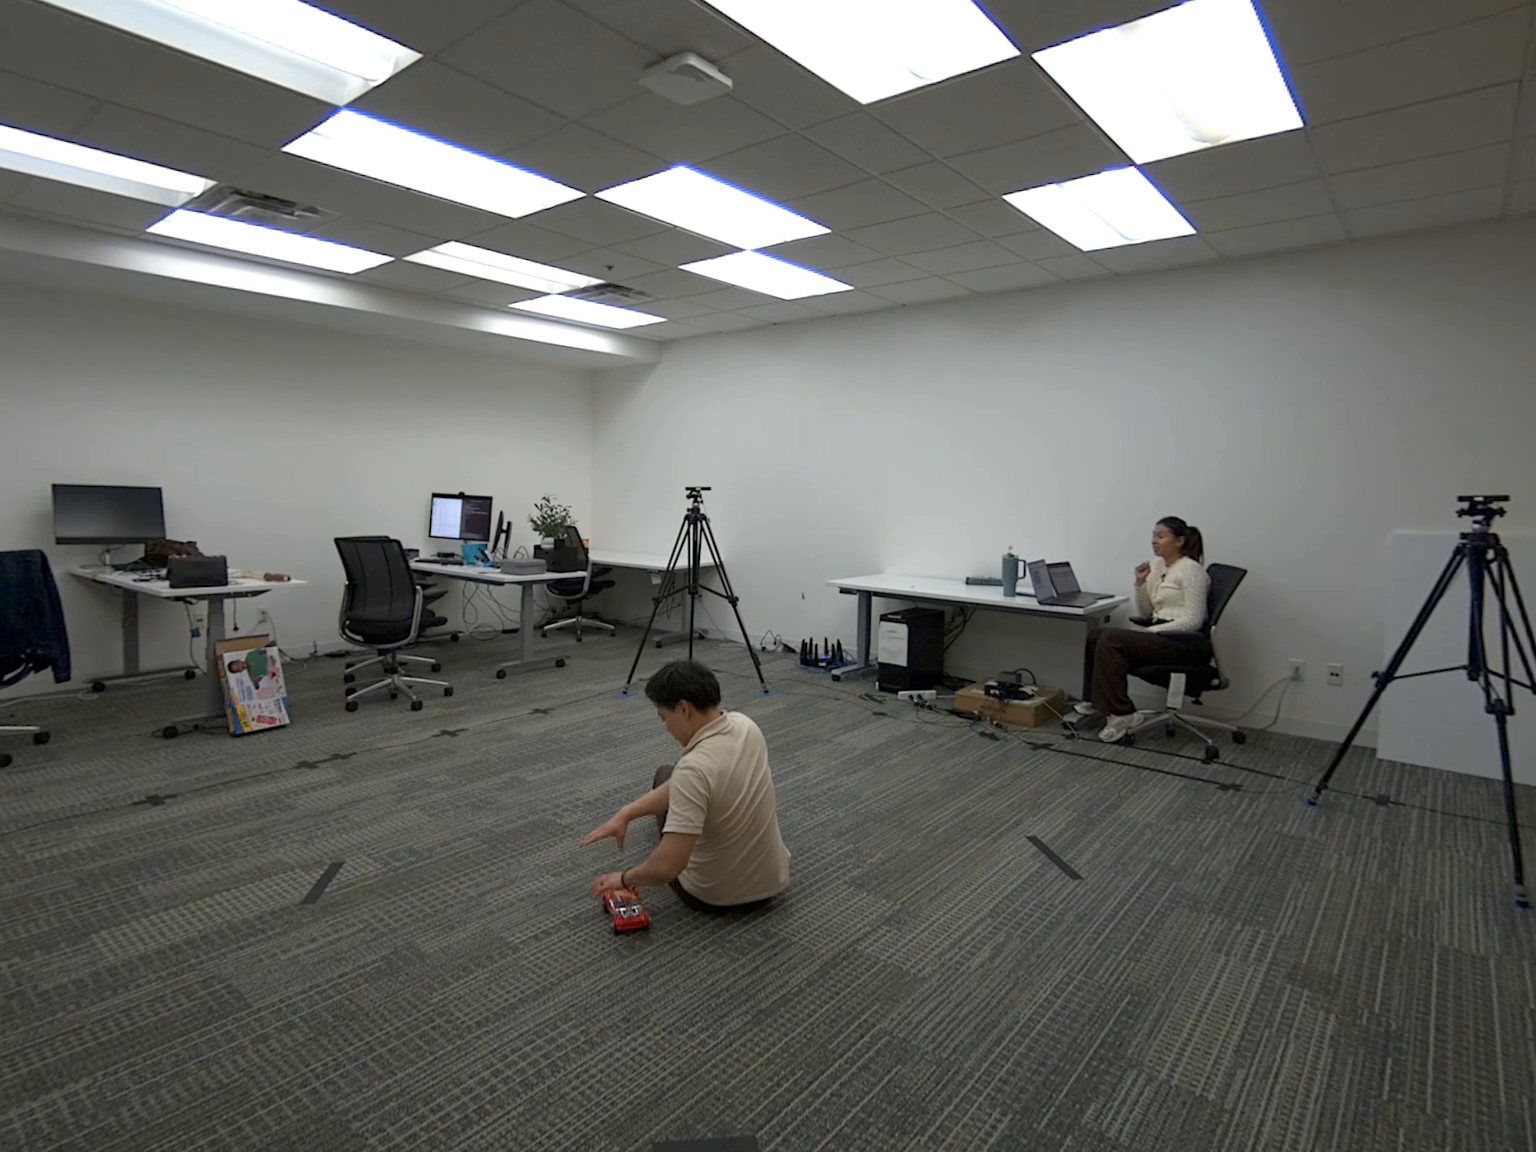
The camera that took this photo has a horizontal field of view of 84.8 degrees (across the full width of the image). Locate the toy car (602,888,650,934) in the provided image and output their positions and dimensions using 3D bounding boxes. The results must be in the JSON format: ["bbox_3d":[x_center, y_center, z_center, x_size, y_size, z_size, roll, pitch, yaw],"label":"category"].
[{"bbox_3d":[-0.473,1.067,2.748,0.128,0.082,0.262,-2,15,-20],"label":"toy car"}]
